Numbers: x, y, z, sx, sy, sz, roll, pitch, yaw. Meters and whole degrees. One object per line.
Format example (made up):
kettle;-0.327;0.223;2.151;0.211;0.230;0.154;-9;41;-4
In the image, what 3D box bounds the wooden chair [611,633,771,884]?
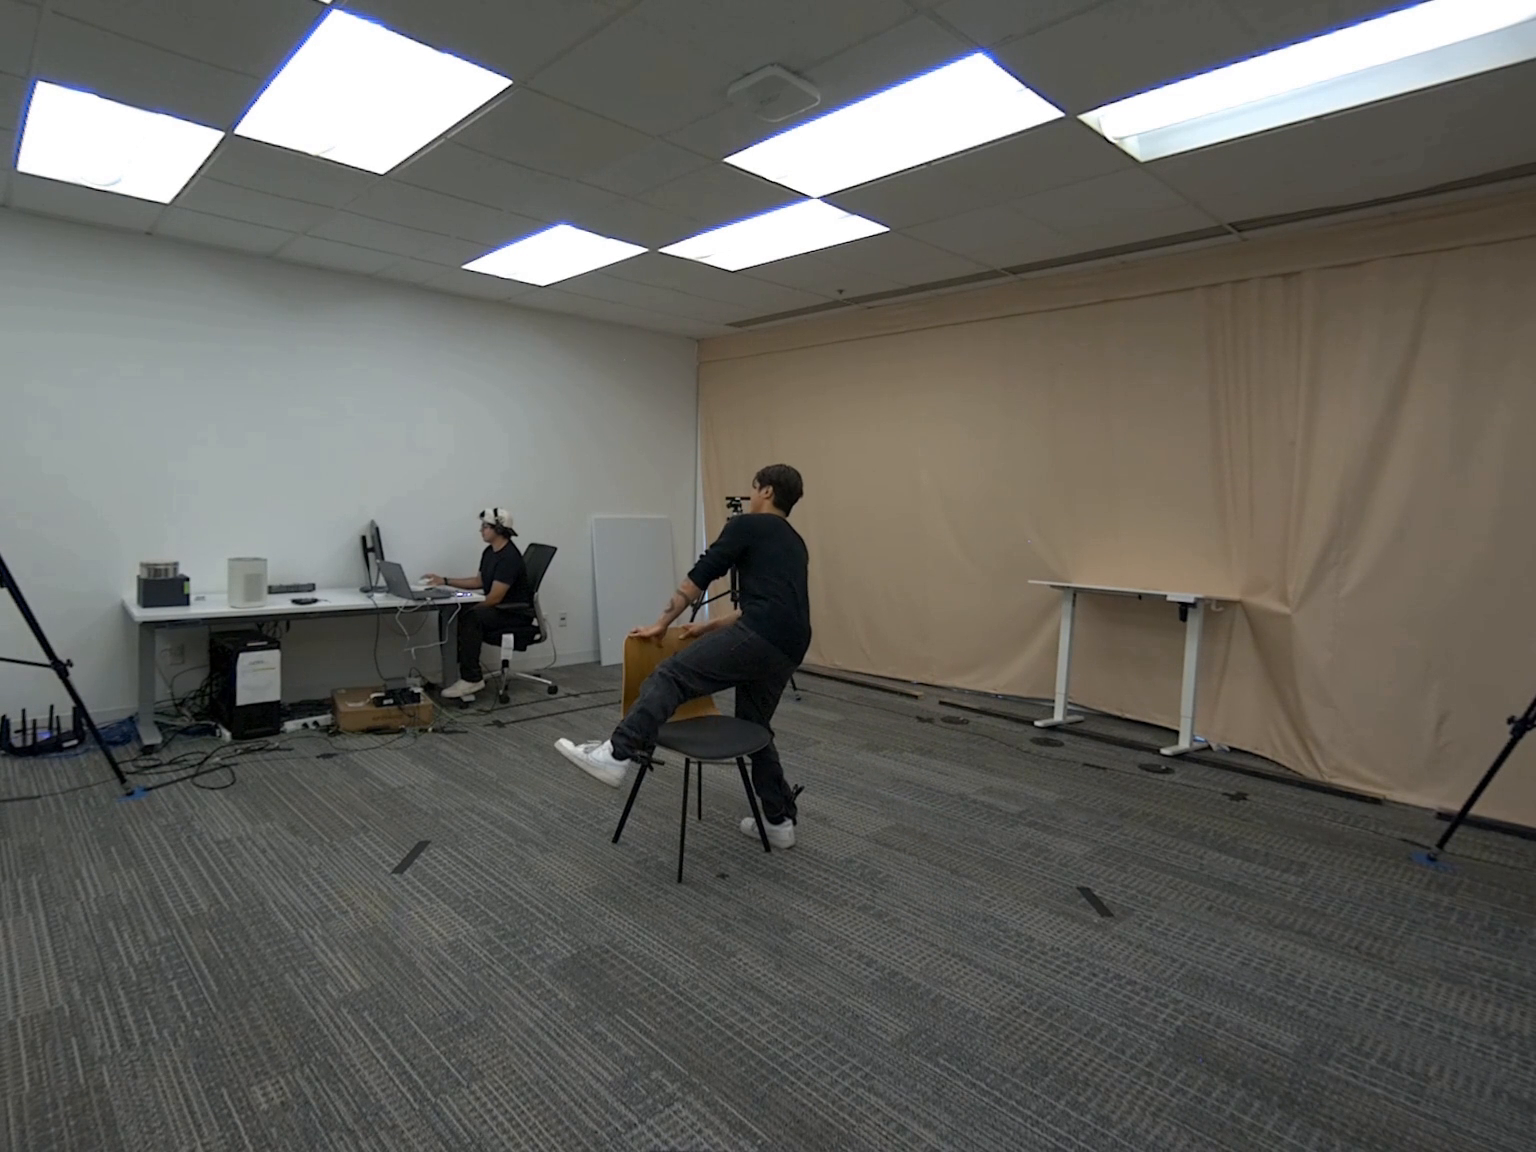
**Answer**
wooden chair;-0.300;0.656;3.310;0.467;0.878;0.535;-1;-1;-42
